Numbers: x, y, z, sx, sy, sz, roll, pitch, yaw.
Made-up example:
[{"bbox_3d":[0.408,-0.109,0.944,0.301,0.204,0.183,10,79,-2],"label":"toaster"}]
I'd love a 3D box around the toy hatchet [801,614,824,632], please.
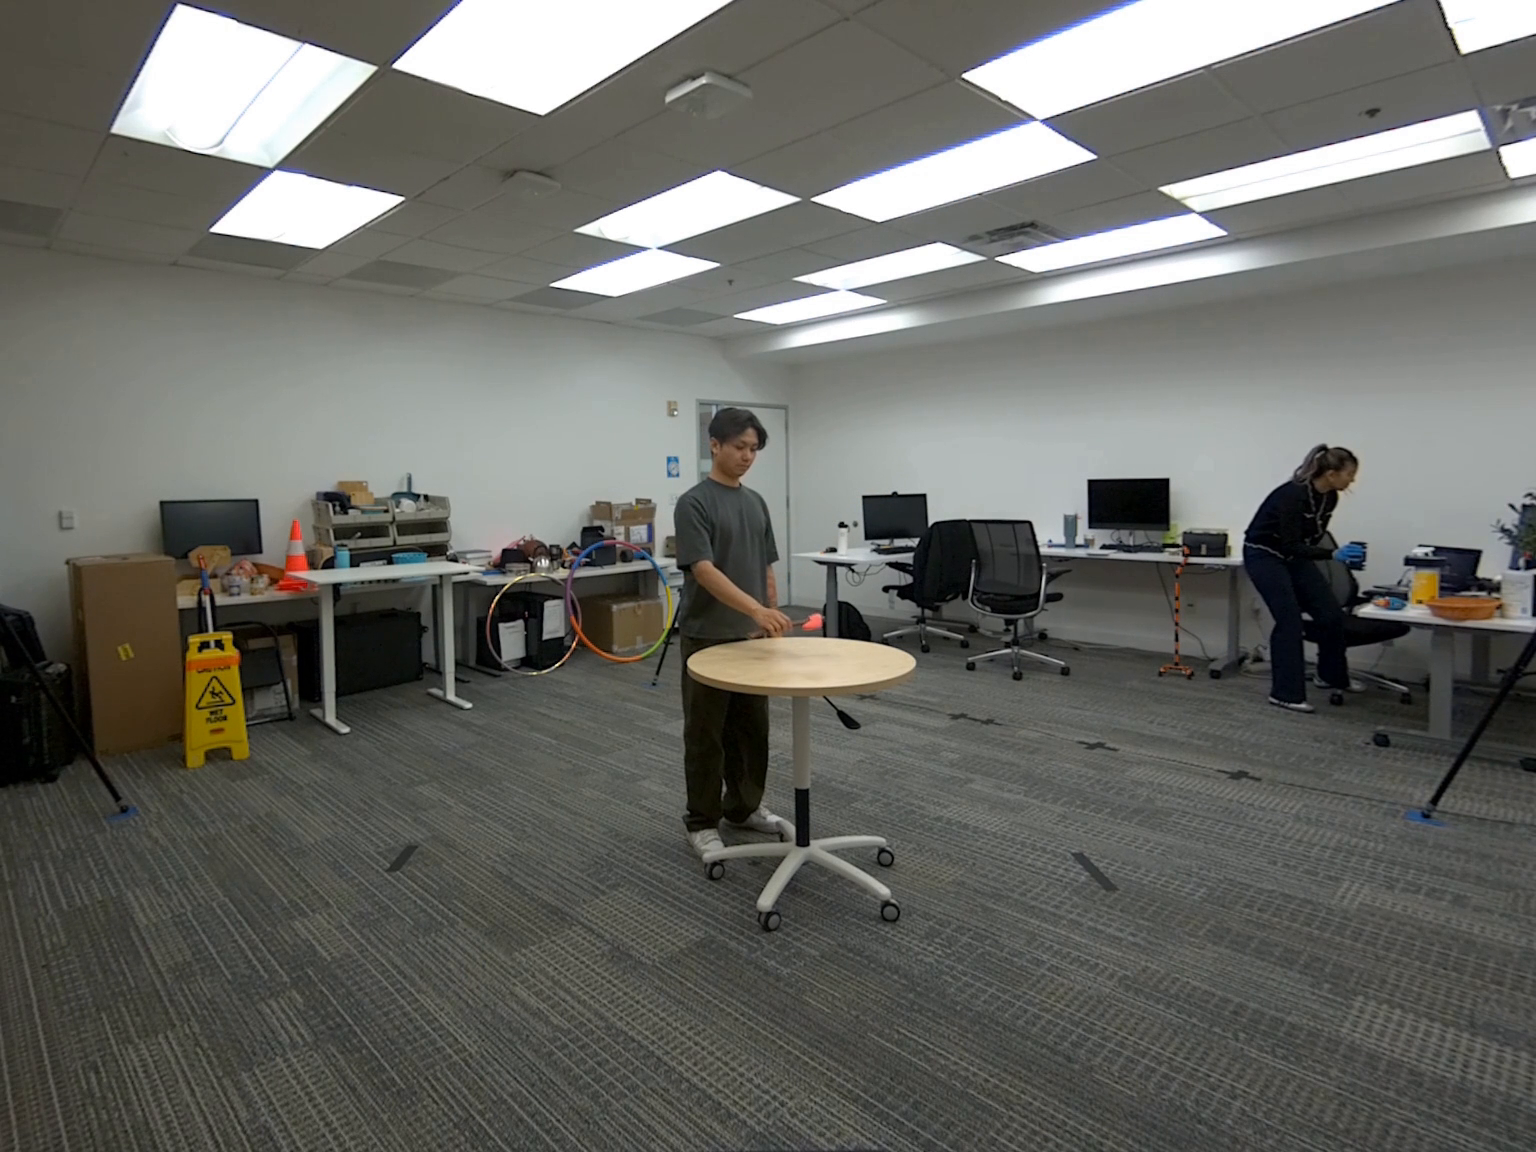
[{"bbox_3d":[0.075,0.182,2.881,0.266,0.029,0.134,-16,15,-21],"label":"toy hatchet"}]
